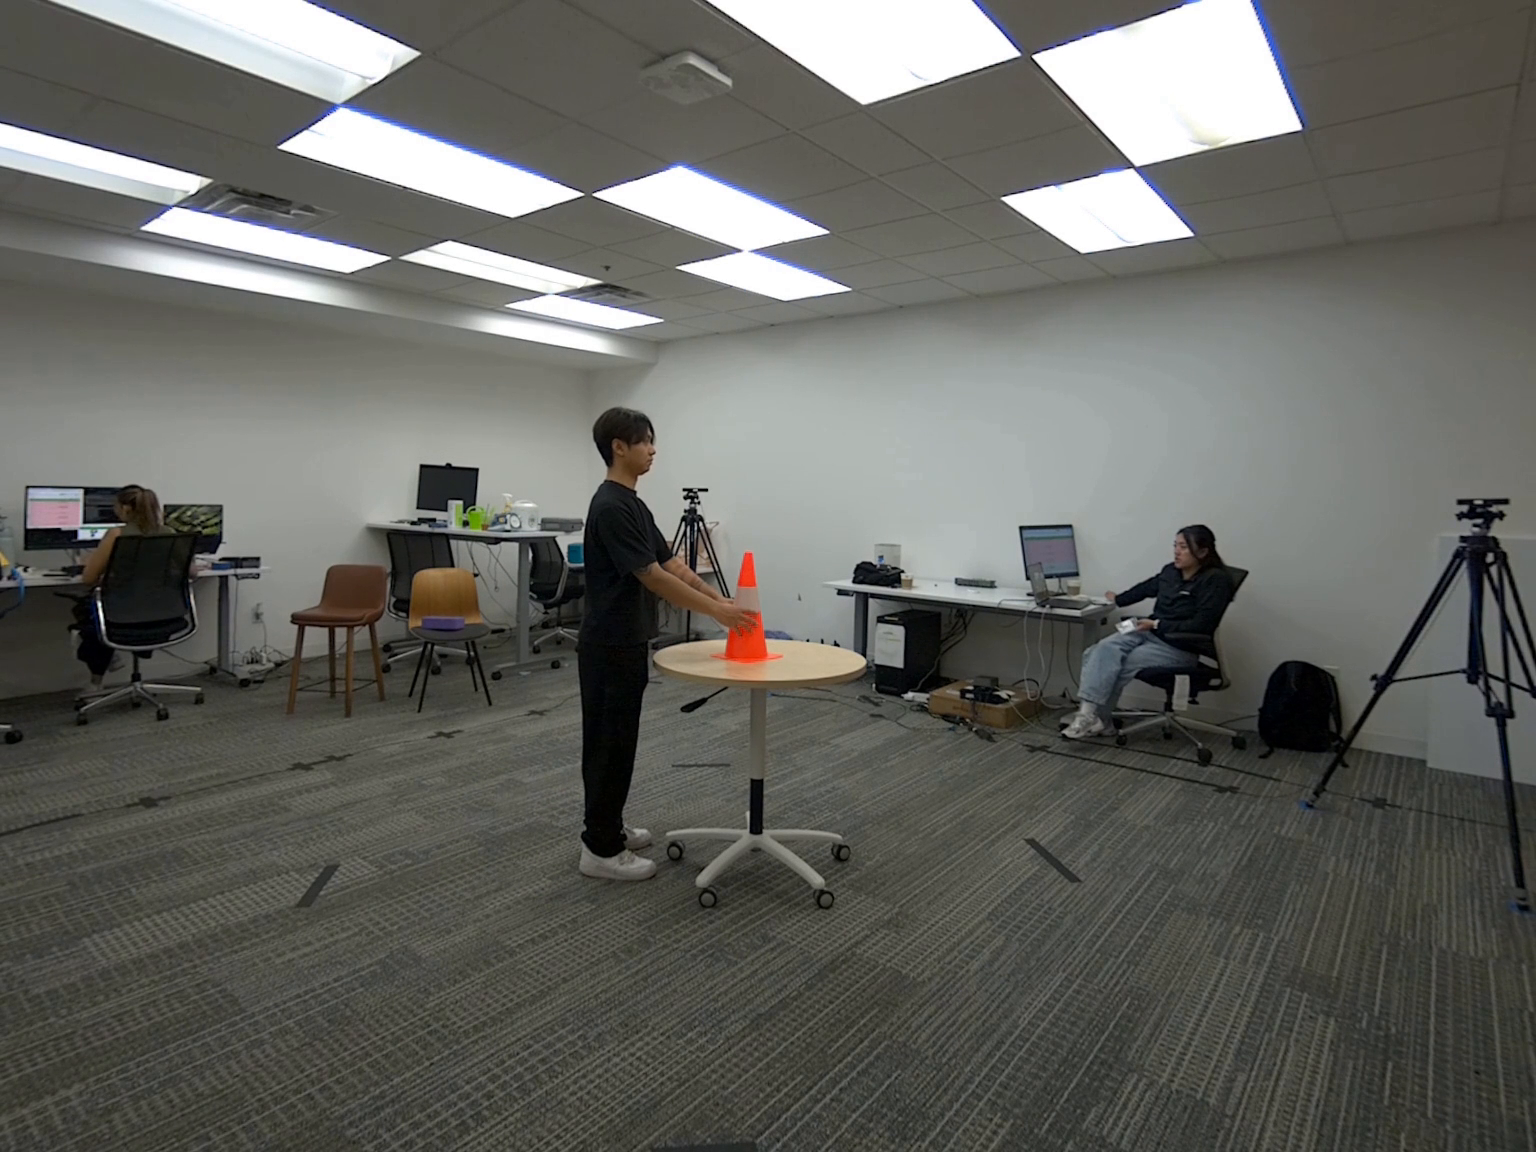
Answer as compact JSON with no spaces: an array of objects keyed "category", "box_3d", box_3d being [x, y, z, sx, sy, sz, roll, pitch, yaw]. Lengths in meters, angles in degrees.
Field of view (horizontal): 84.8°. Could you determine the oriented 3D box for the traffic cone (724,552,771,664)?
[{"category":"traffic cone","box_3d":[-0.084,0.106,3.085,0.212,0.382,0.197,5,6,37]}]
